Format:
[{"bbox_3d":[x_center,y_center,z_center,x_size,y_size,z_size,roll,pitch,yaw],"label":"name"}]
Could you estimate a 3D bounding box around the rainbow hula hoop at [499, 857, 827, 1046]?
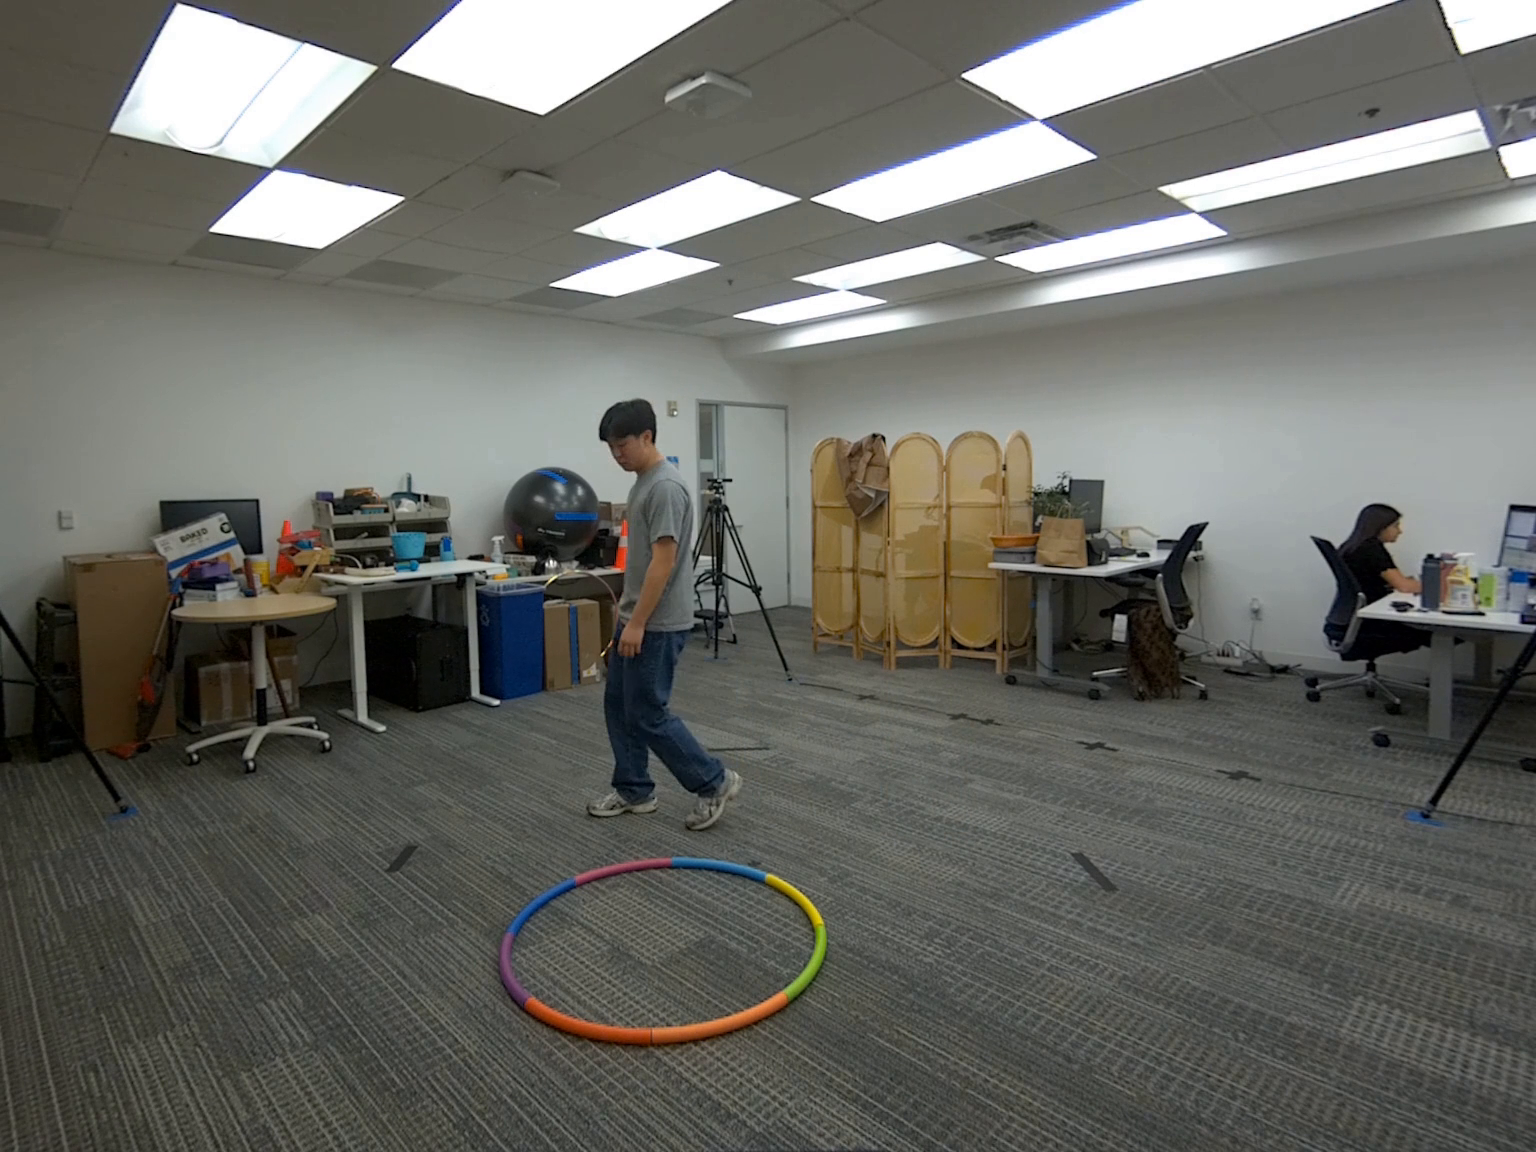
[{"bbox_3d":[-0.315,1.080,2.609,0.978,0.035,0.984,-2,7,-2],"label":"rainbow hula hoop"}]
